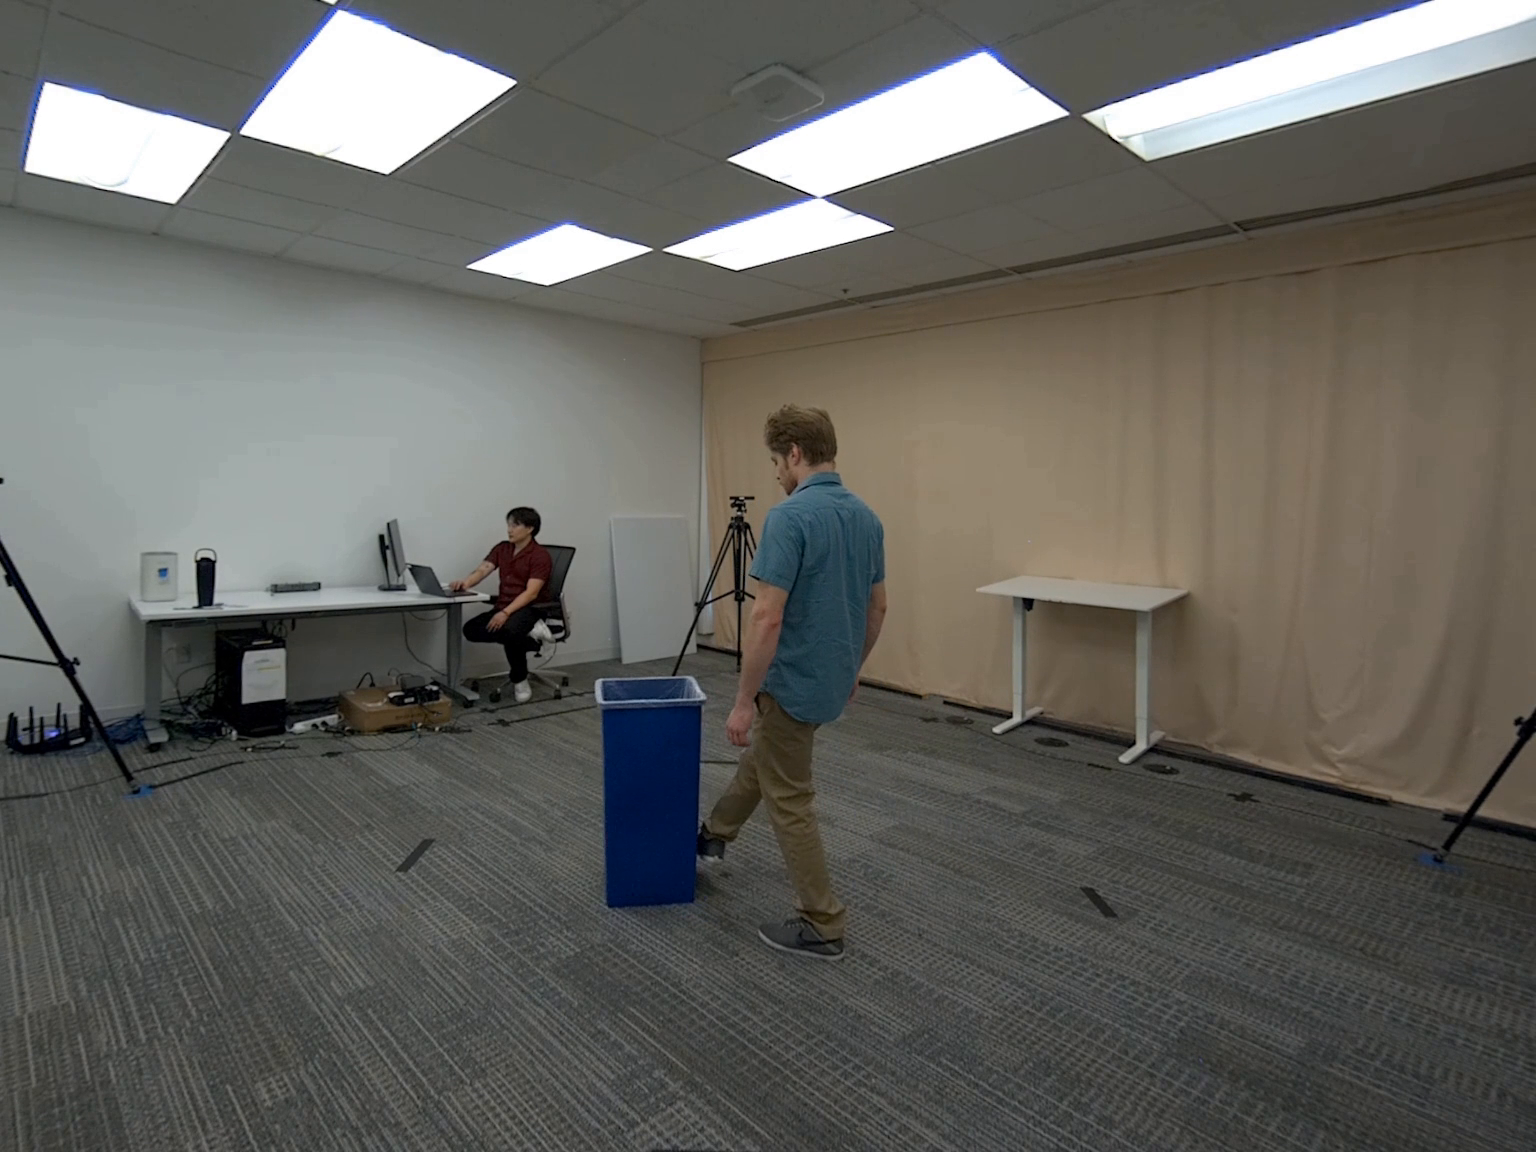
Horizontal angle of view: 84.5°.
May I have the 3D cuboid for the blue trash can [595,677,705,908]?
[{"bbox_3d":[-0.440,0.751,2.982,0.371,0.712,0.382,0,3,-12],"label":"blue trash can"}]
